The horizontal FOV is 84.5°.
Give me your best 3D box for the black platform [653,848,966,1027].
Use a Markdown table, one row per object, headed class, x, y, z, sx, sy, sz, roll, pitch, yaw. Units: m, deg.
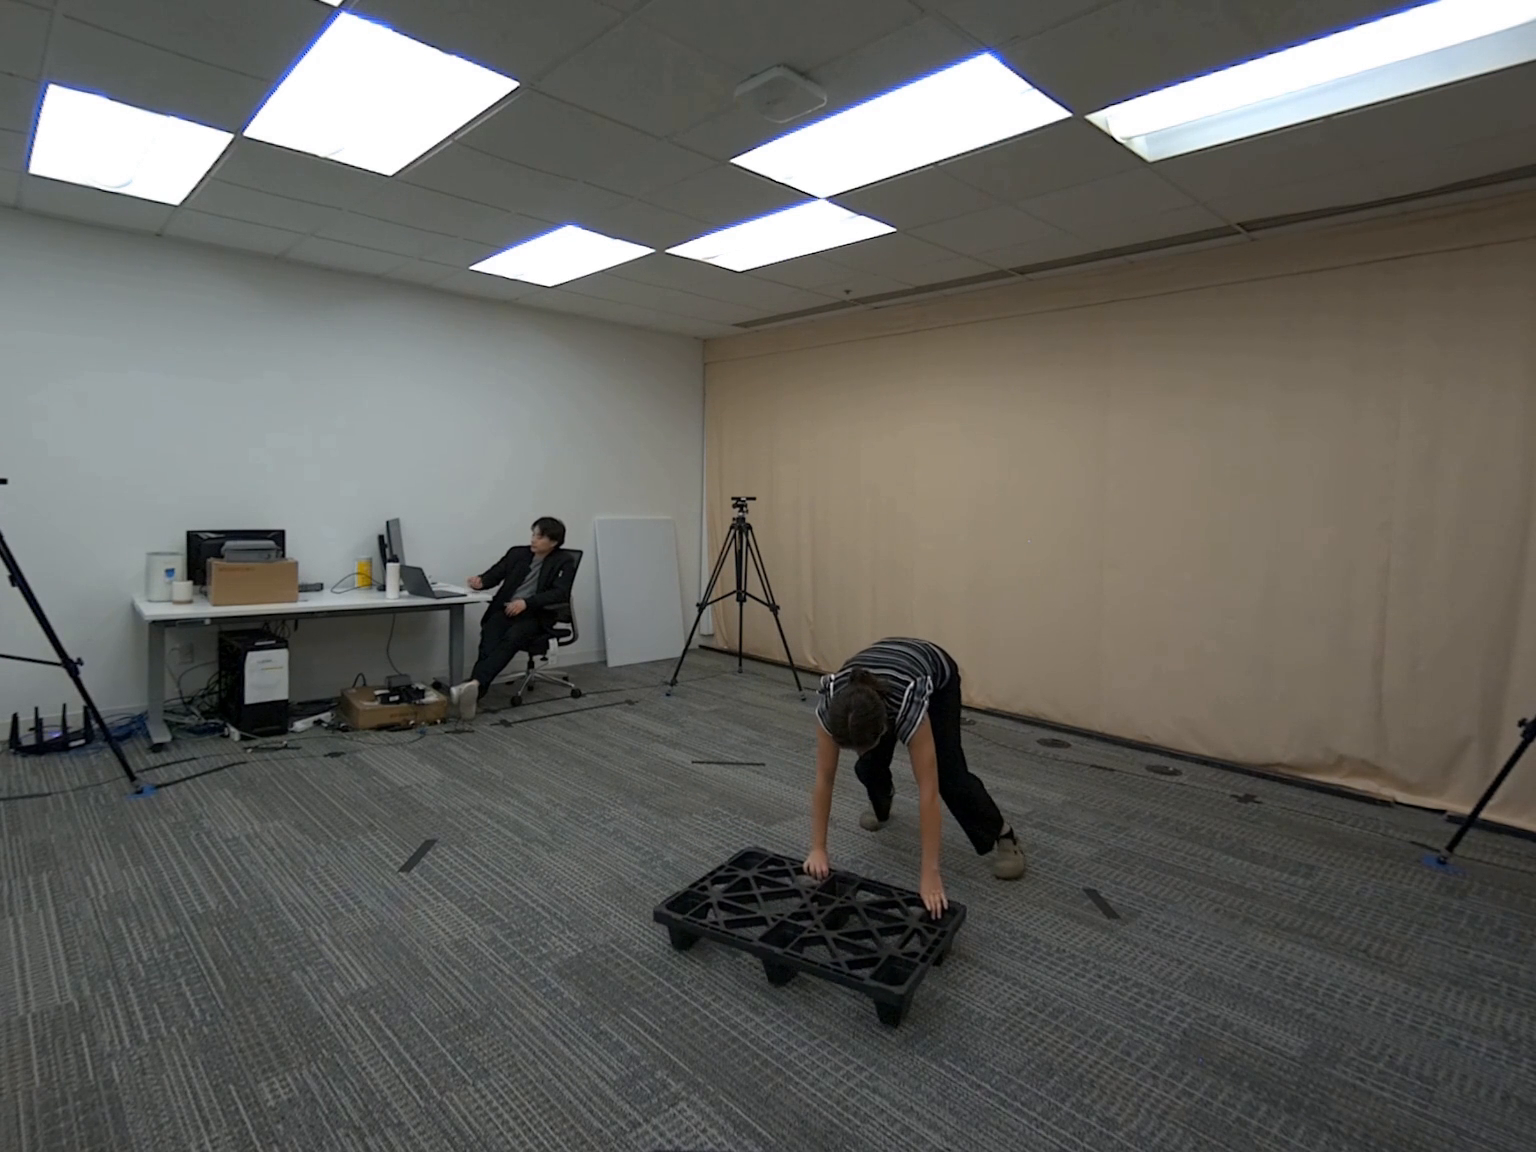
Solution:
| class | x | y | z | sx | sy | sz | roll | pitch | yaw |
| --- | --- | --- | --- | --- | --- | --- | --- | --- | --- |
| black platform | 0.126 | 1.088 | 2.597 | 0.823 | 0.143 | 0.594 | 4 | 6 | 30 |
